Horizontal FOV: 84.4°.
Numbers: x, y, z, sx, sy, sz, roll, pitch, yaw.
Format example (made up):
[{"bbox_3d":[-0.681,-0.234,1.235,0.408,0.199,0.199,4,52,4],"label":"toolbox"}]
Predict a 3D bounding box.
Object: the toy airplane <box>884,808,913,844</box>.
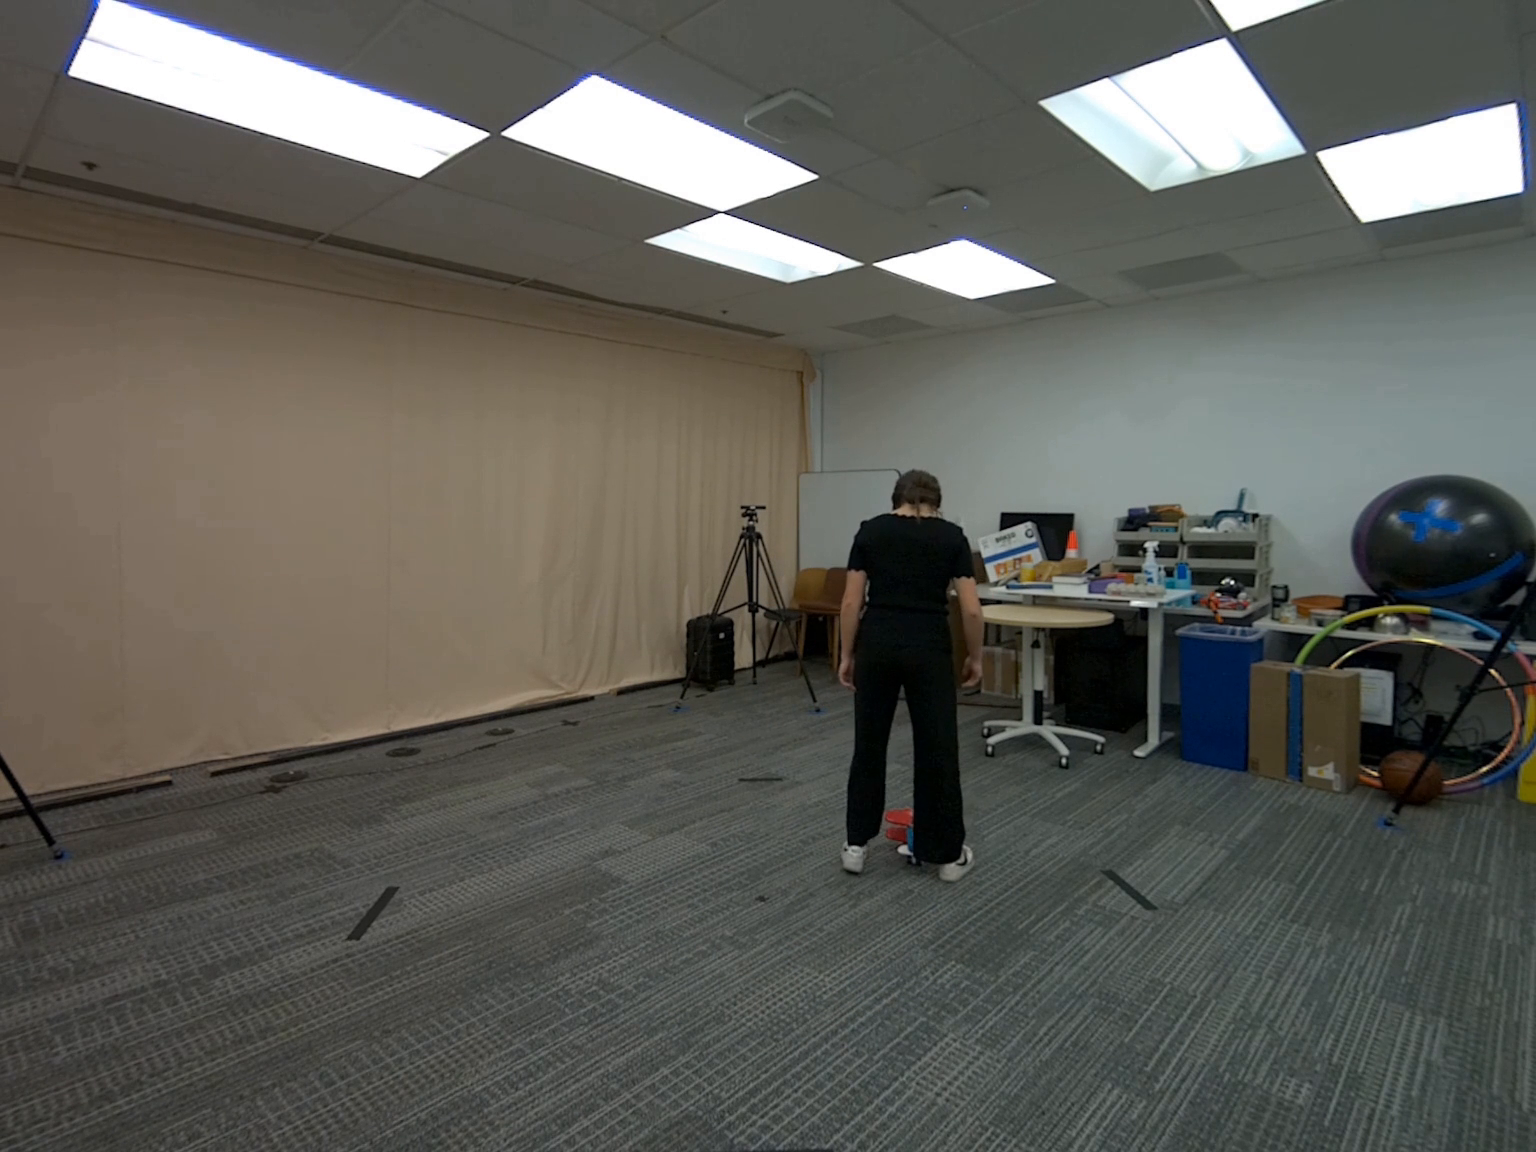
[{"bbox_3d":[0.609,1.034,3.341,0.248,0.156,0.263,0,3,-12],"label":"toy airplane"}]
